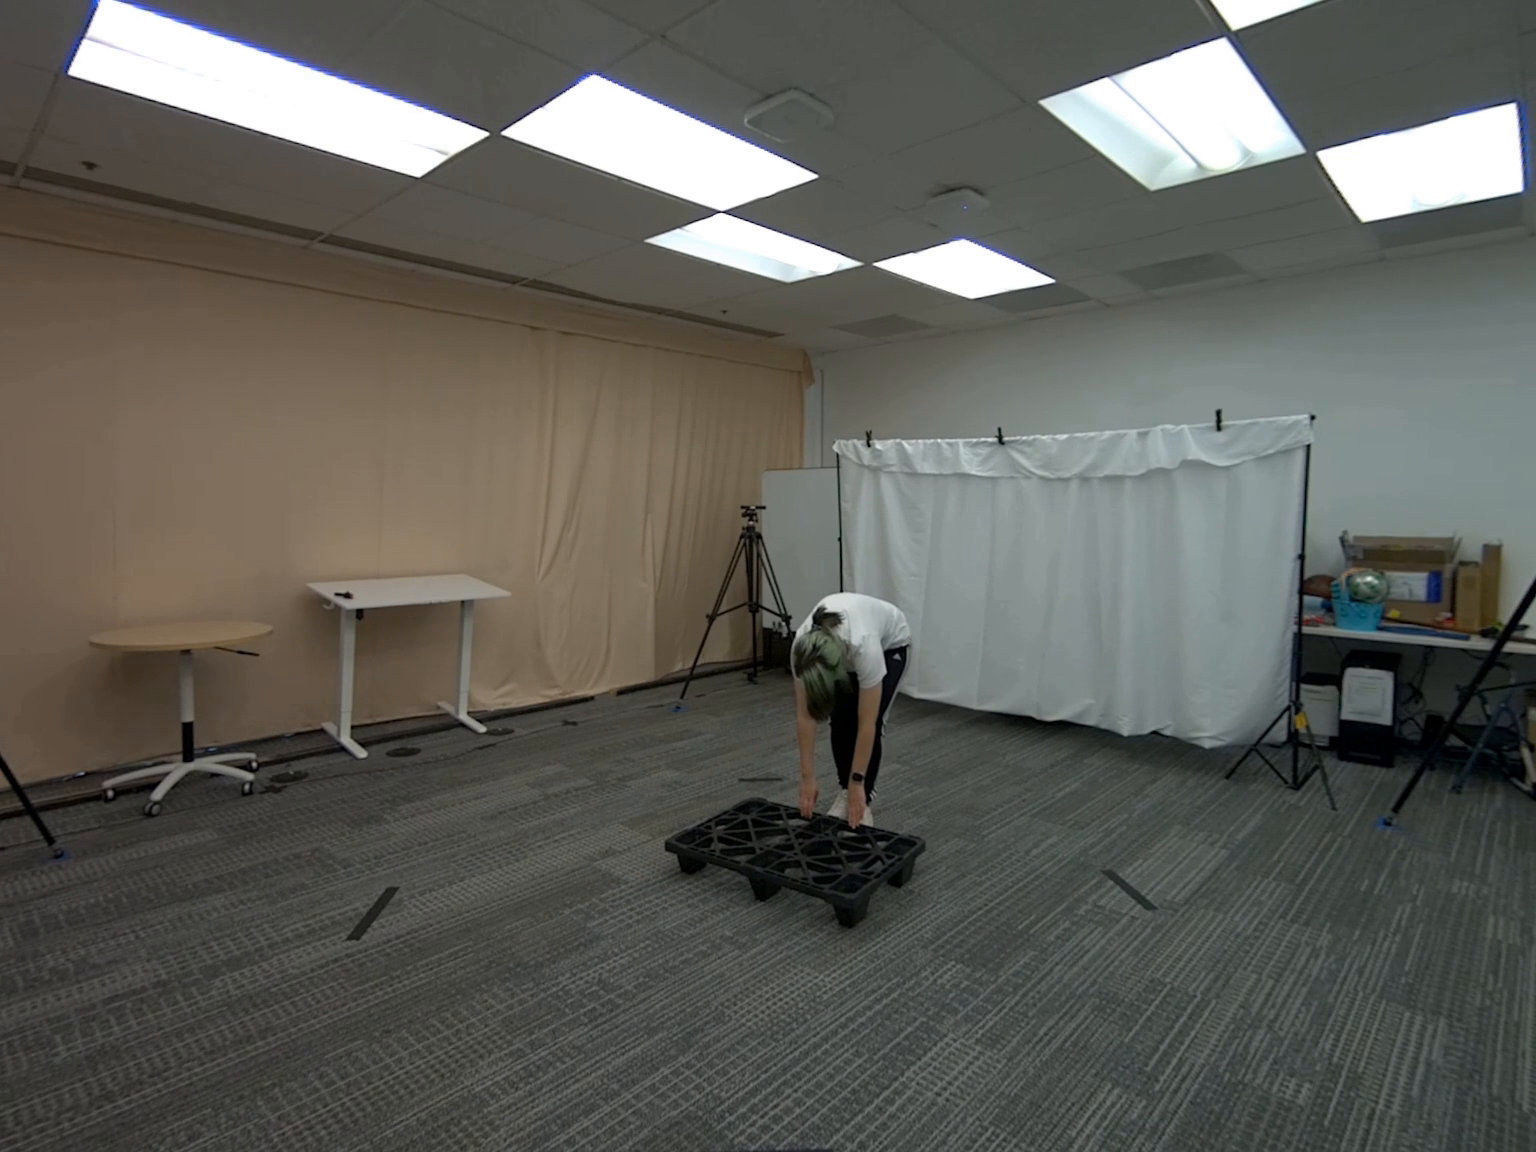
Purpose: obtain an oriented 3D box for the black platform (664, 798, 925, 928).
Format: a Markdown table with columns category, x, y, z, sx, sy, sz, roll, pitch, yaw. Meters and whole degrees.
| category | x | y | z | sx | sy | sz | roll | pitch | yaw |
| --- | --- | --- | --- | --- | --- | --- | --- | --- | --- |
| black platform | 0.099 | 1.059 | 3.172 | 0.831 | 0.143 | 0.587 | 4 | 6 | 36 |
